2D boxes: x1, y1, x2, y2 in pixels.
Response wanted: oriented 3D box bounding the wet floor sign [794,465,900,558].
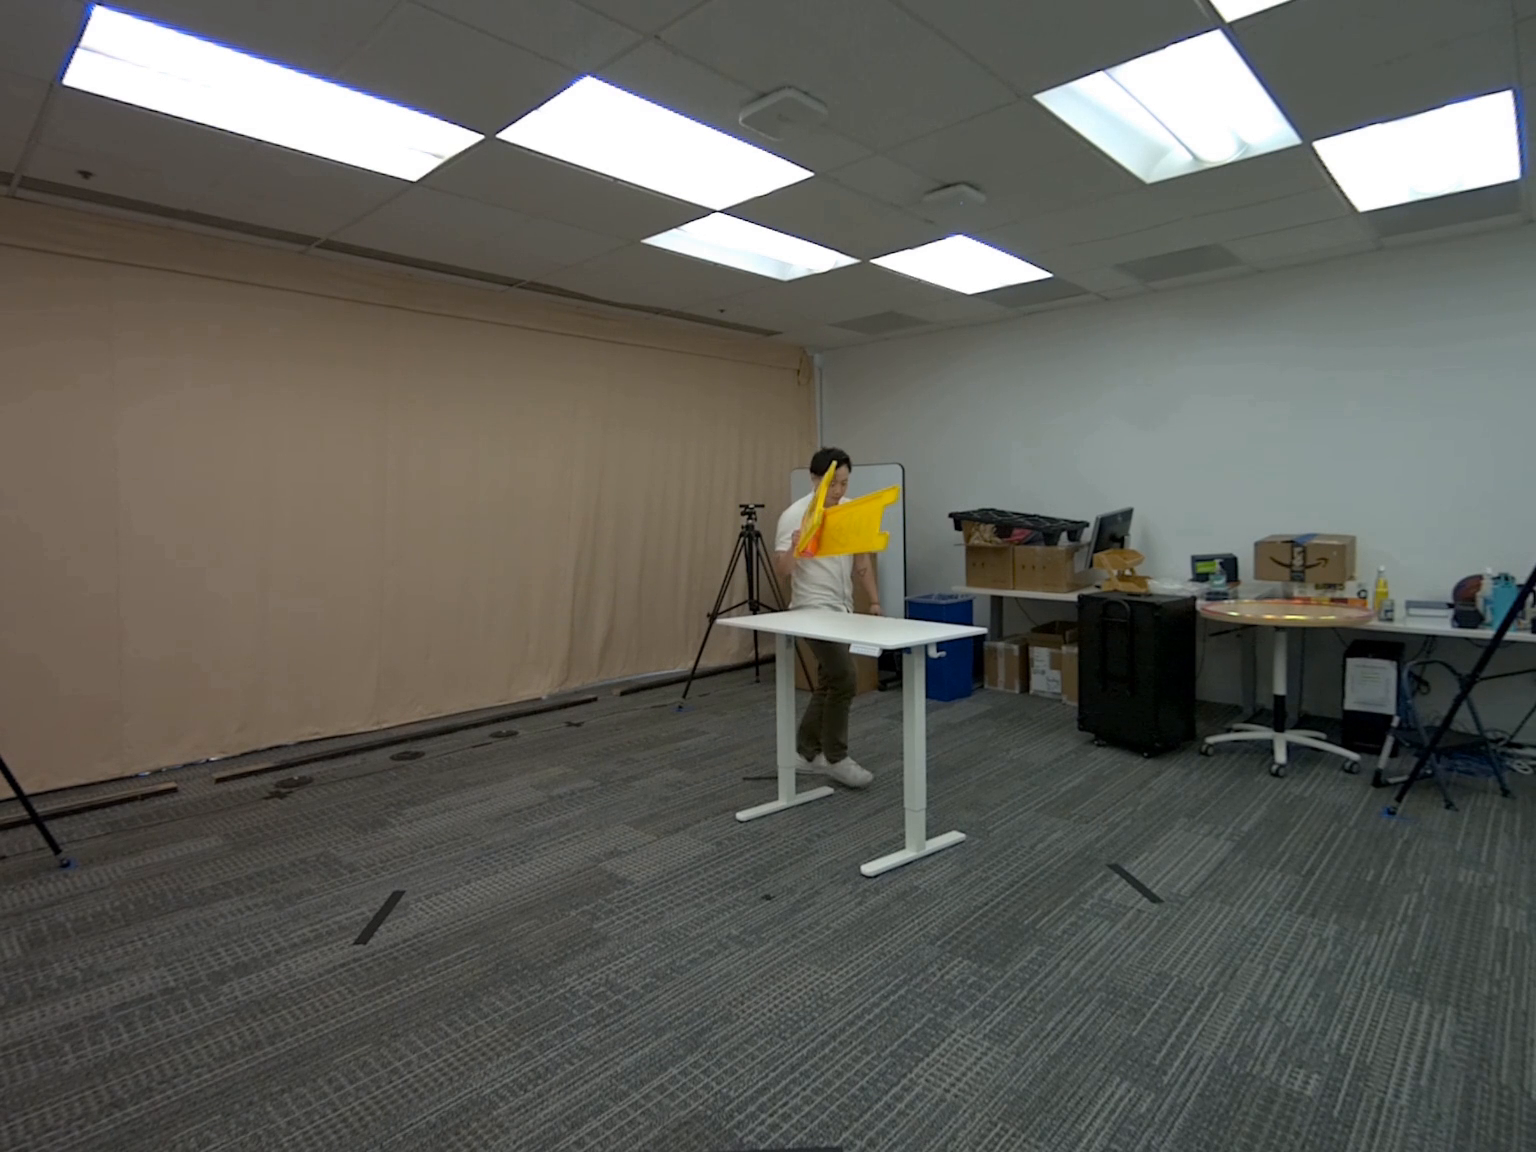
[{"bbox_3d":[0.258,-0.226,3.621,0.285,0.283,0.654,20,-16,-15],"label":"wet floor sign"}]
